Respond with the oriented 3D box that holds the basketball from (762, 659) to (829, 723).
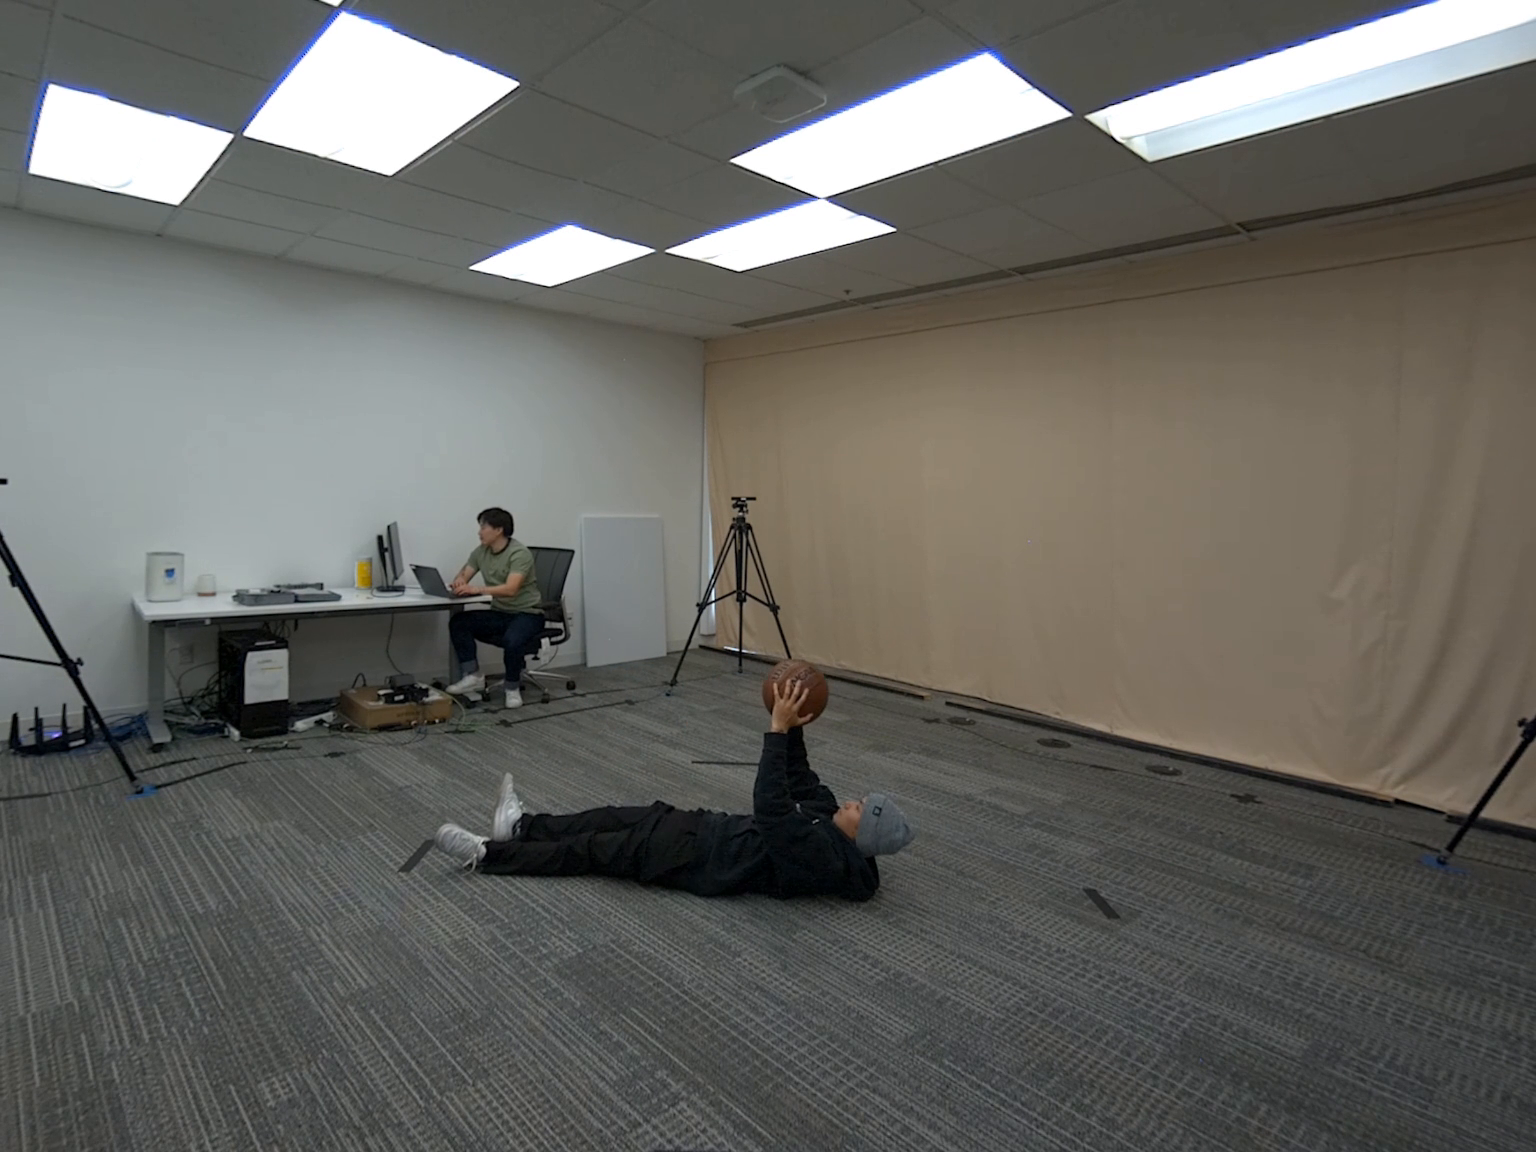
[{"bbox_3d":[0.095,0.422,3.031,0.236,0.235,0.237,1,4,-1],"label":"basketball"}]
